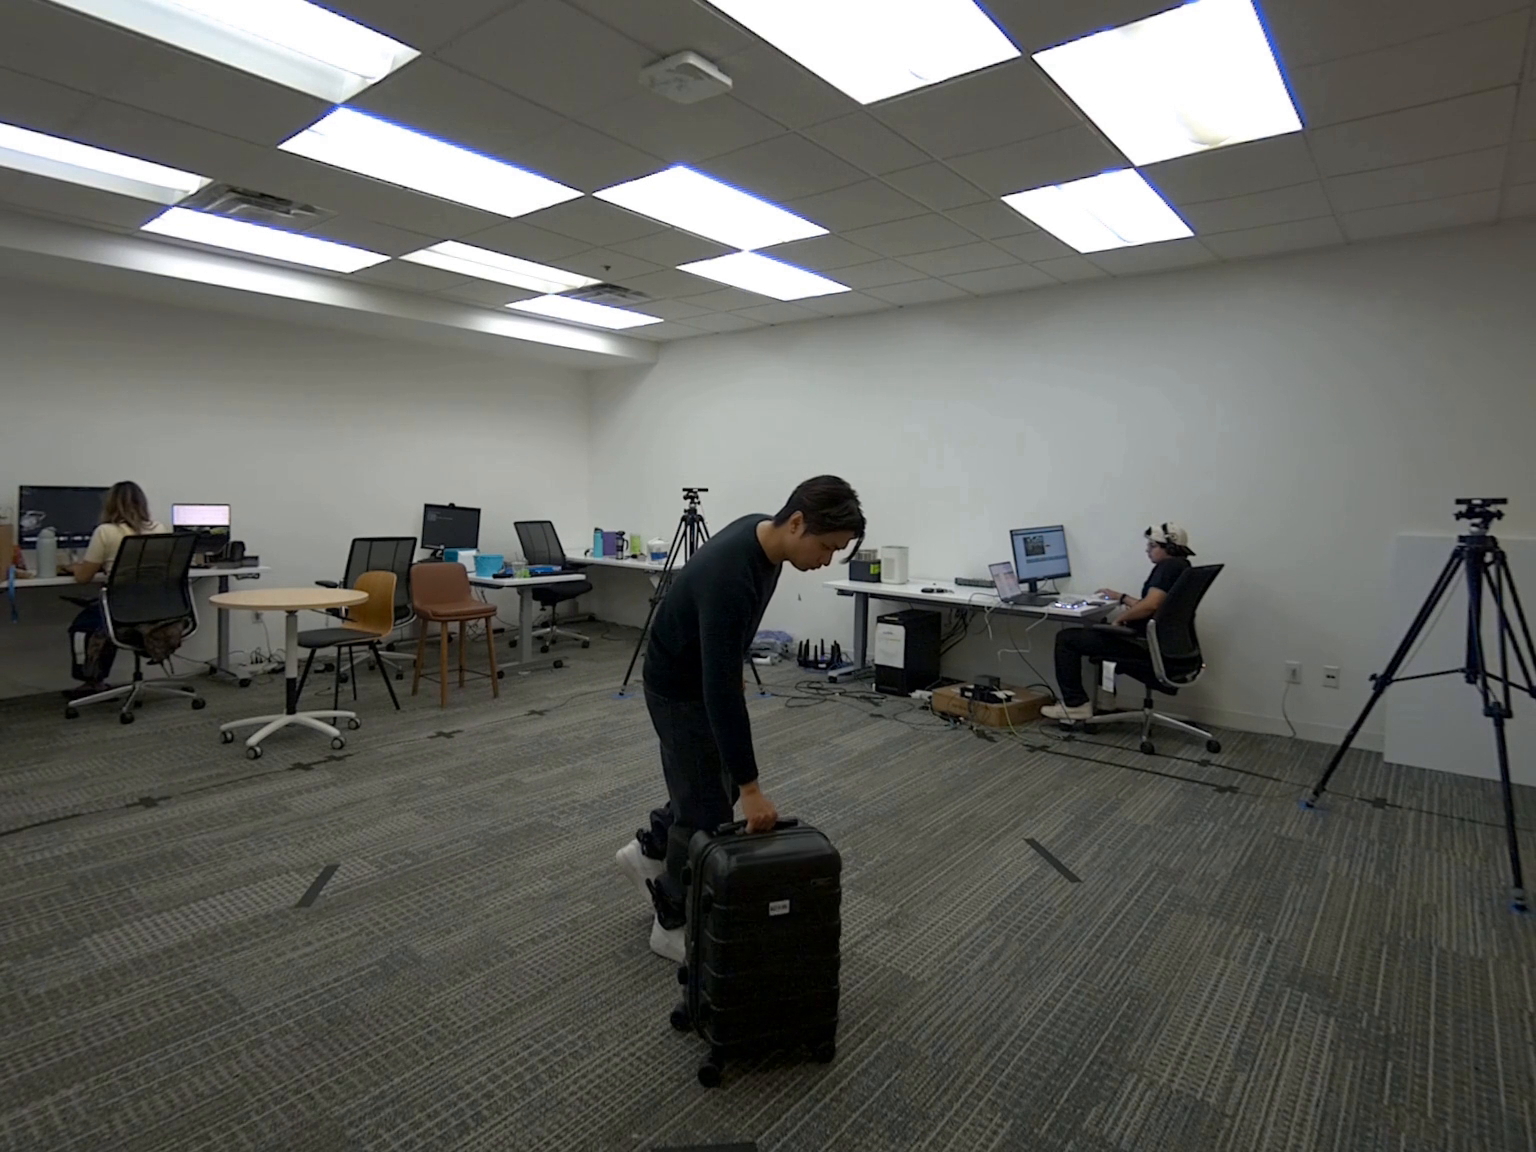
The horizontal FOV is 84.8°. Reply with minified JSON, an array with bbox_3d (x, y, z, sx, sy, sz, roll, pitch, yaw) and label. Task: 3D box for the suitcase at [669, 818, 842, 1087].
[{"bbox_3d":[-0.021,0.895,2.130,0.367,0.548,0.254,1,3,-22],"label":"suitcase"}]
